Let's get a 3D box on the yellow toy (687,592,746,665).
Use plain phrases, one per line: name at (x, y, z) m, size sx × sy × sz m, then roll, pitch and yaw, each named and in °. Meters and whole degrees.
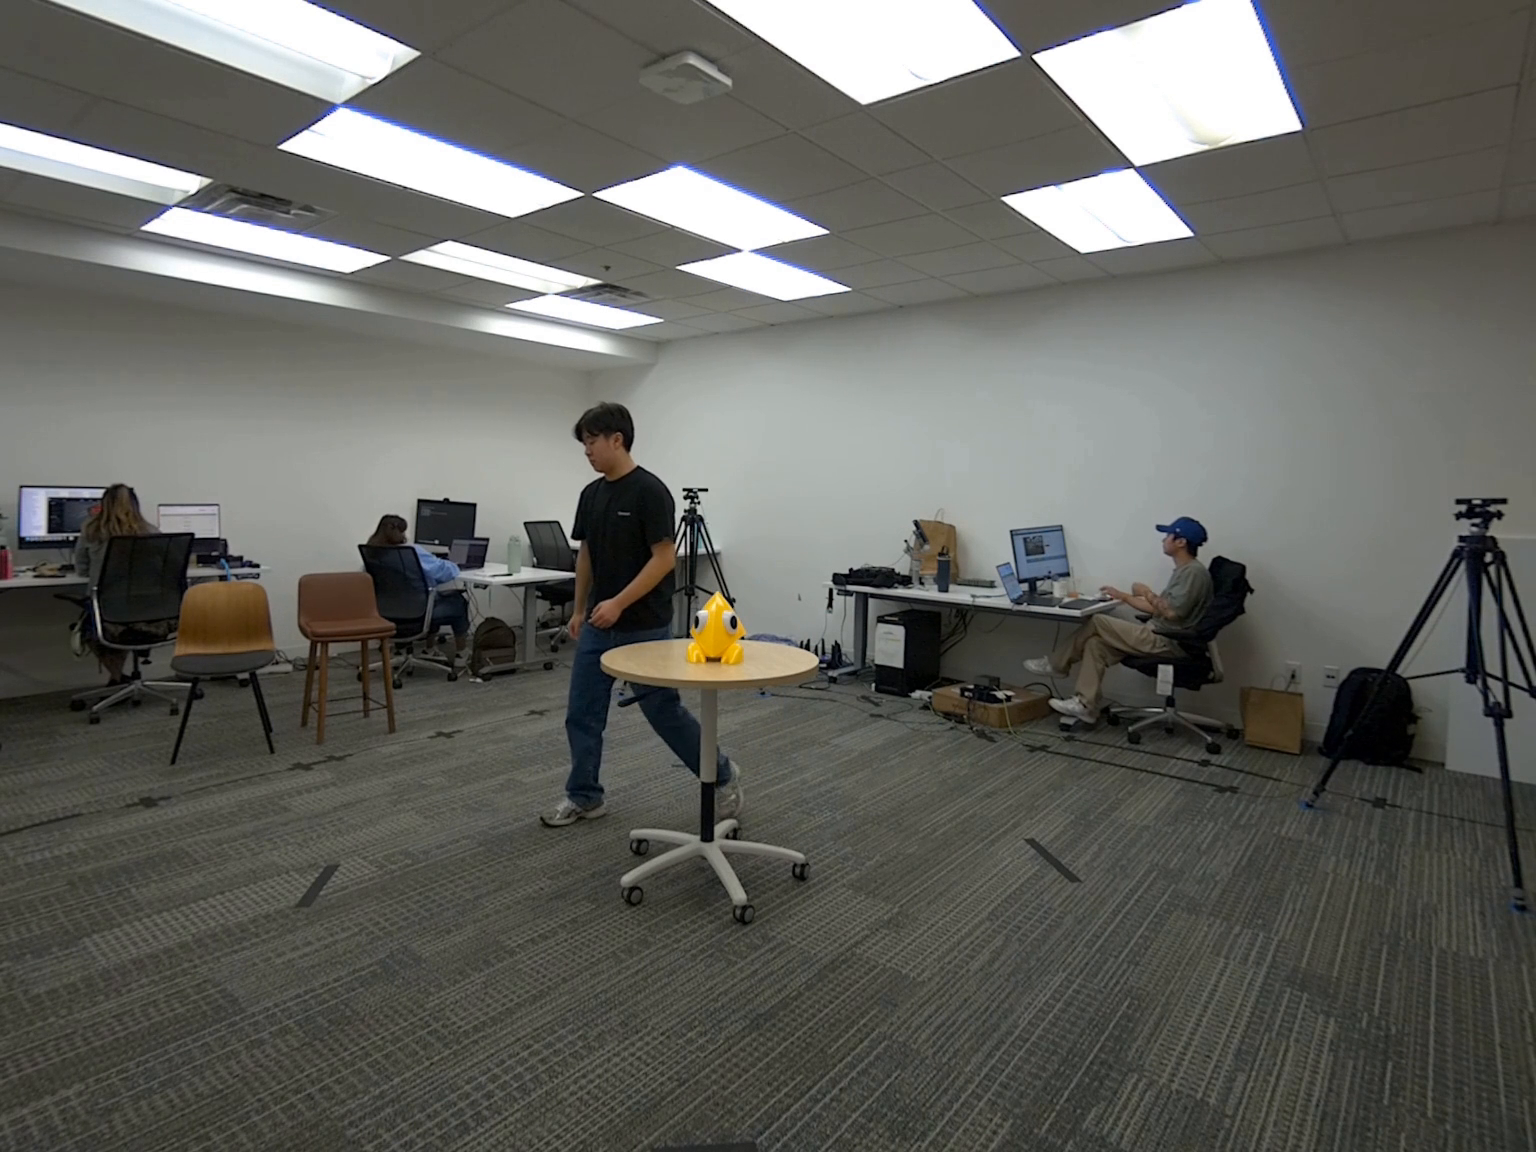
yellow toy at (-0.193, 0.173, 2.961) m, size 0.206 × 0.230 × 0.192 m, roll 1°, pitch 4°, yaw 5°
